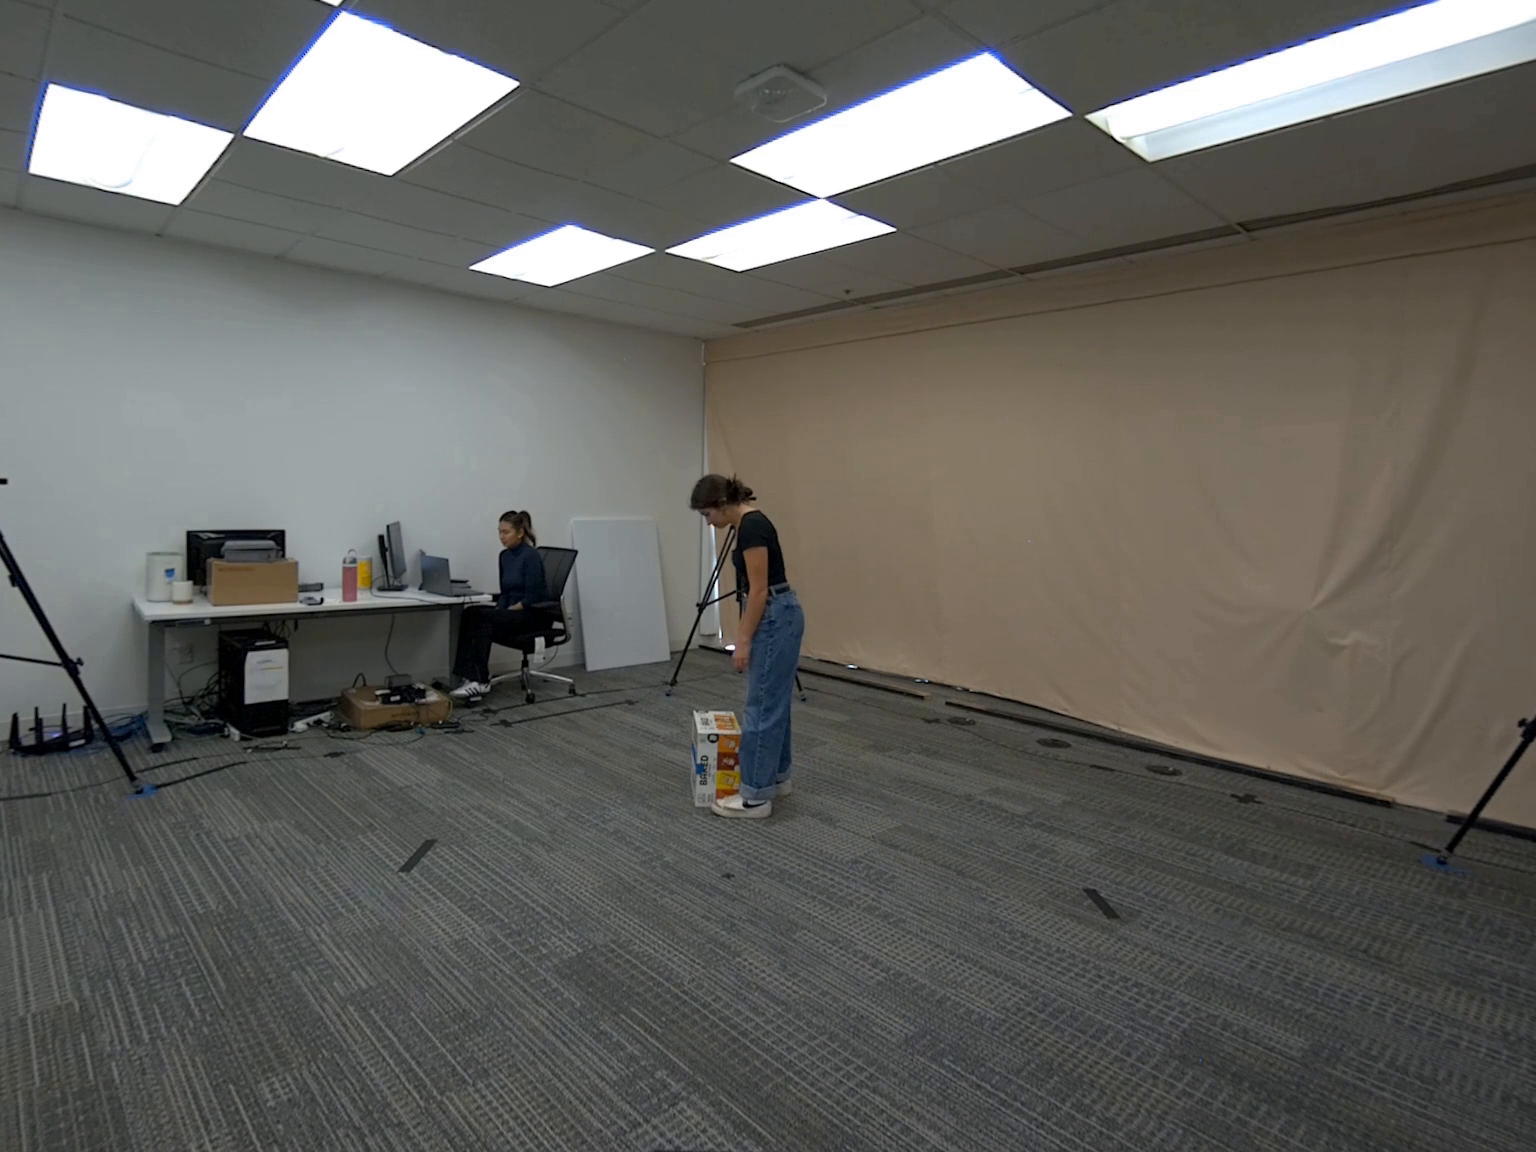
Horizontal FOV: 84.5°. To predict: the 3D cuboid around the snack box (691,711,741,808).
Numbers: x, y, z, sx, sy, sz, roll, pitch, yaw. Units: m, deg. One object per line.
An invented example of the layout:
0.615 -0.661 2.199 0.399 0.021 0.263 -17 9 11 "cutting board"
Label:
-0.254 0.855 3.984 0.204 0.340 0.409 3 3 -9 "snack box"
